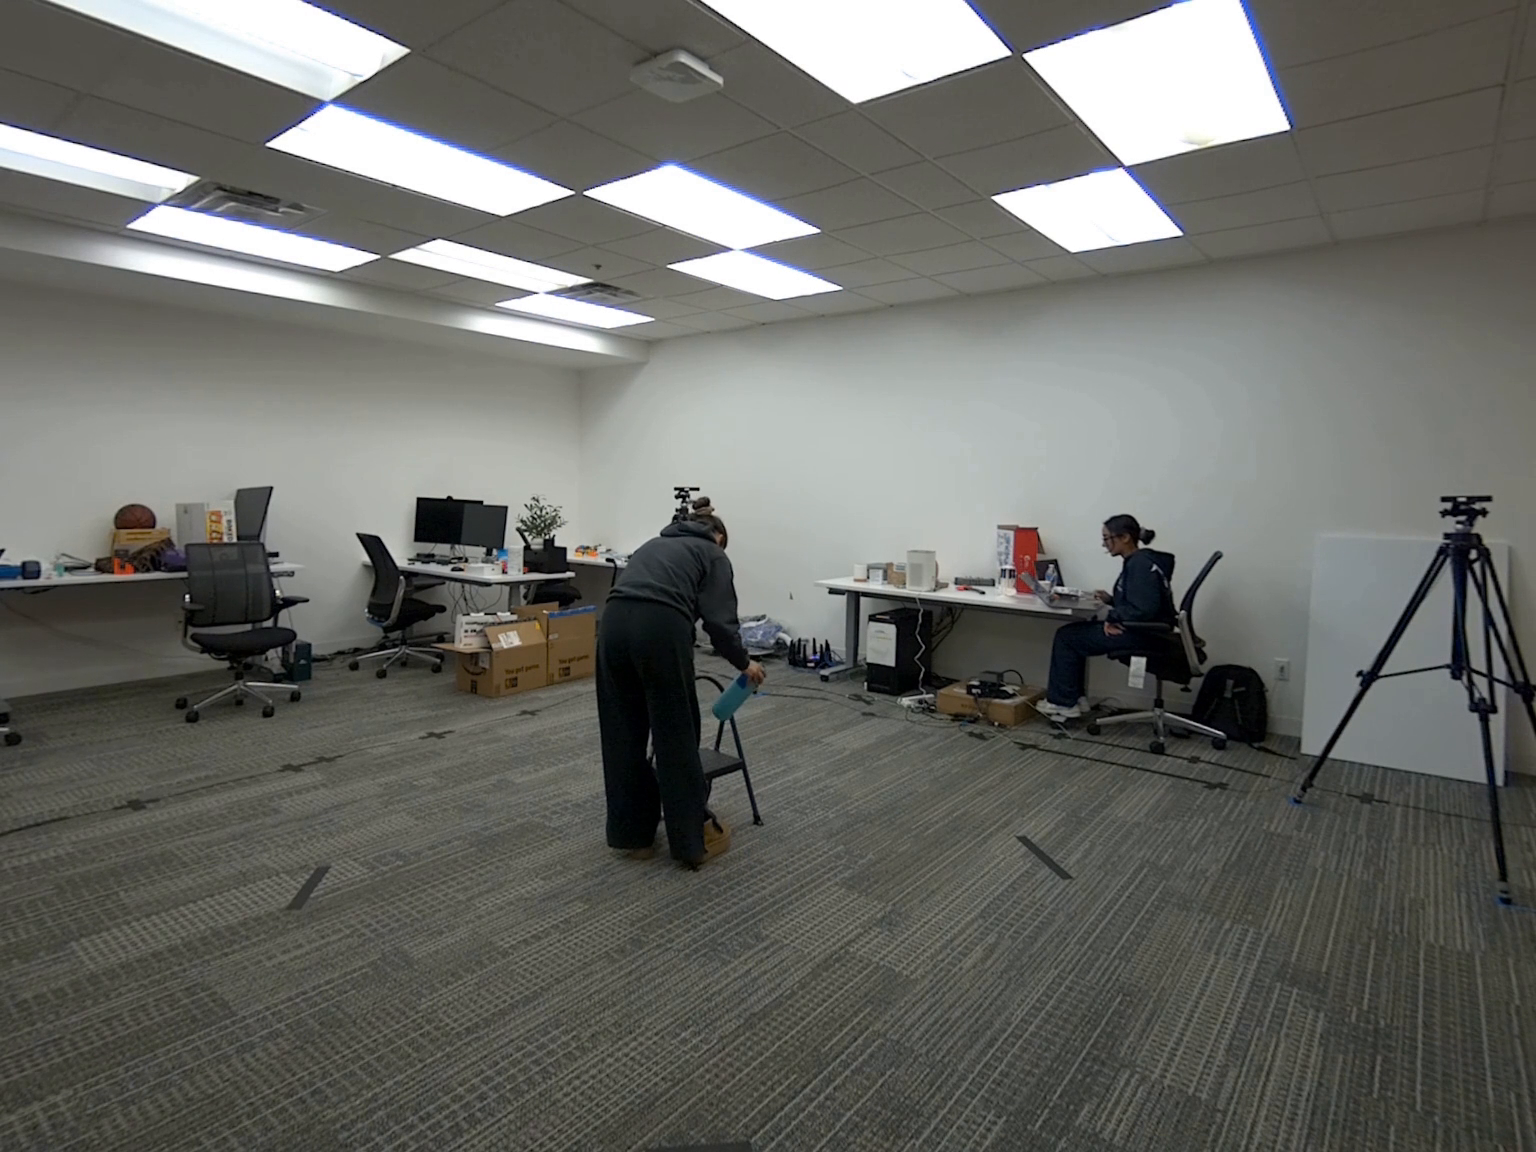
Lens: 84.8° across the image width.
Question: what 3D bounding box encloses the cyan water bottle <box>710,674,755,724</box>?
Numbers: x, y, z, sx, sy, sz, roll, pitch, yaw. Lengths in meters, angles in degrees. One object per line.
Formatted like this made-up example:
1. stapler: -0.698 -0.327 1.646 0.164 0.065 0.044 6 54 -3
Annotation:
1. cyan water bottle: -0.126 0.443 3.404 0.090 0.282 0.095 28 28 -19
